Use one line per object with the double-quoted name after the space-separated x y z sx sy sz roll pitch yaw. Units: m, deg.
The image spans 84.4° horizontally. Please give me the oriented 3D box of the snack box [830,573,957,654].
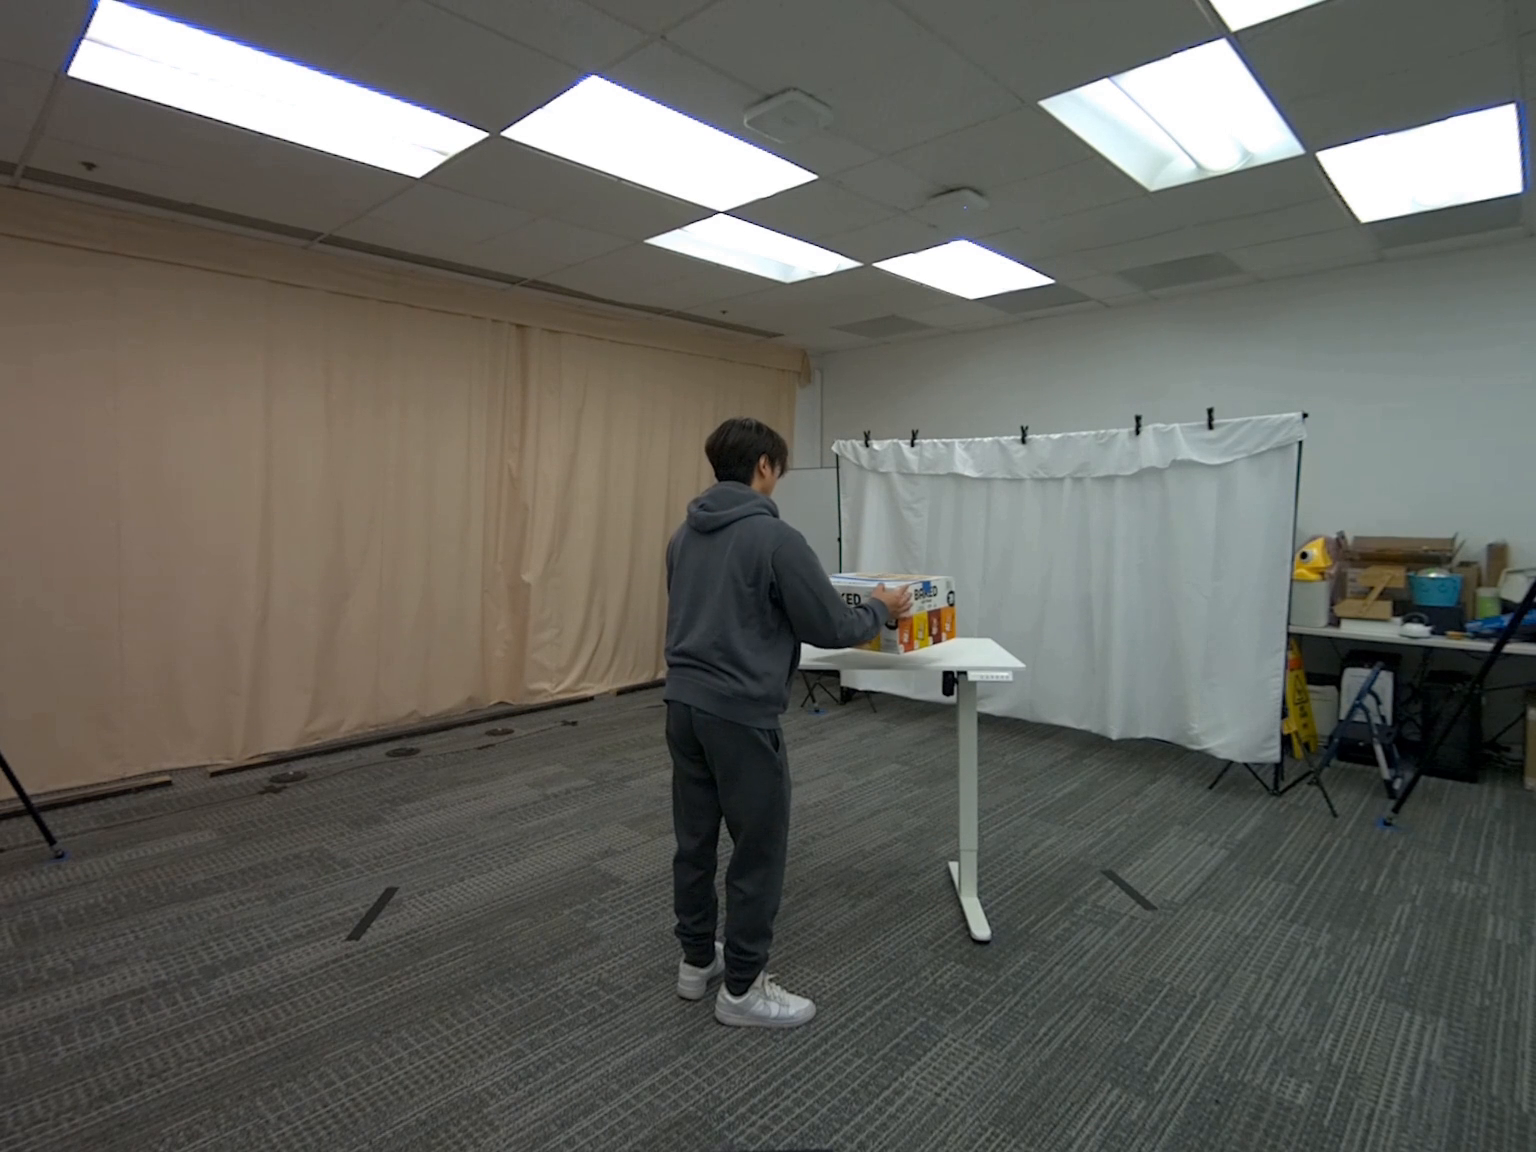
0.346 0.116 2.744 0.418 0.205 0.330 2 6 42 "snack box"
